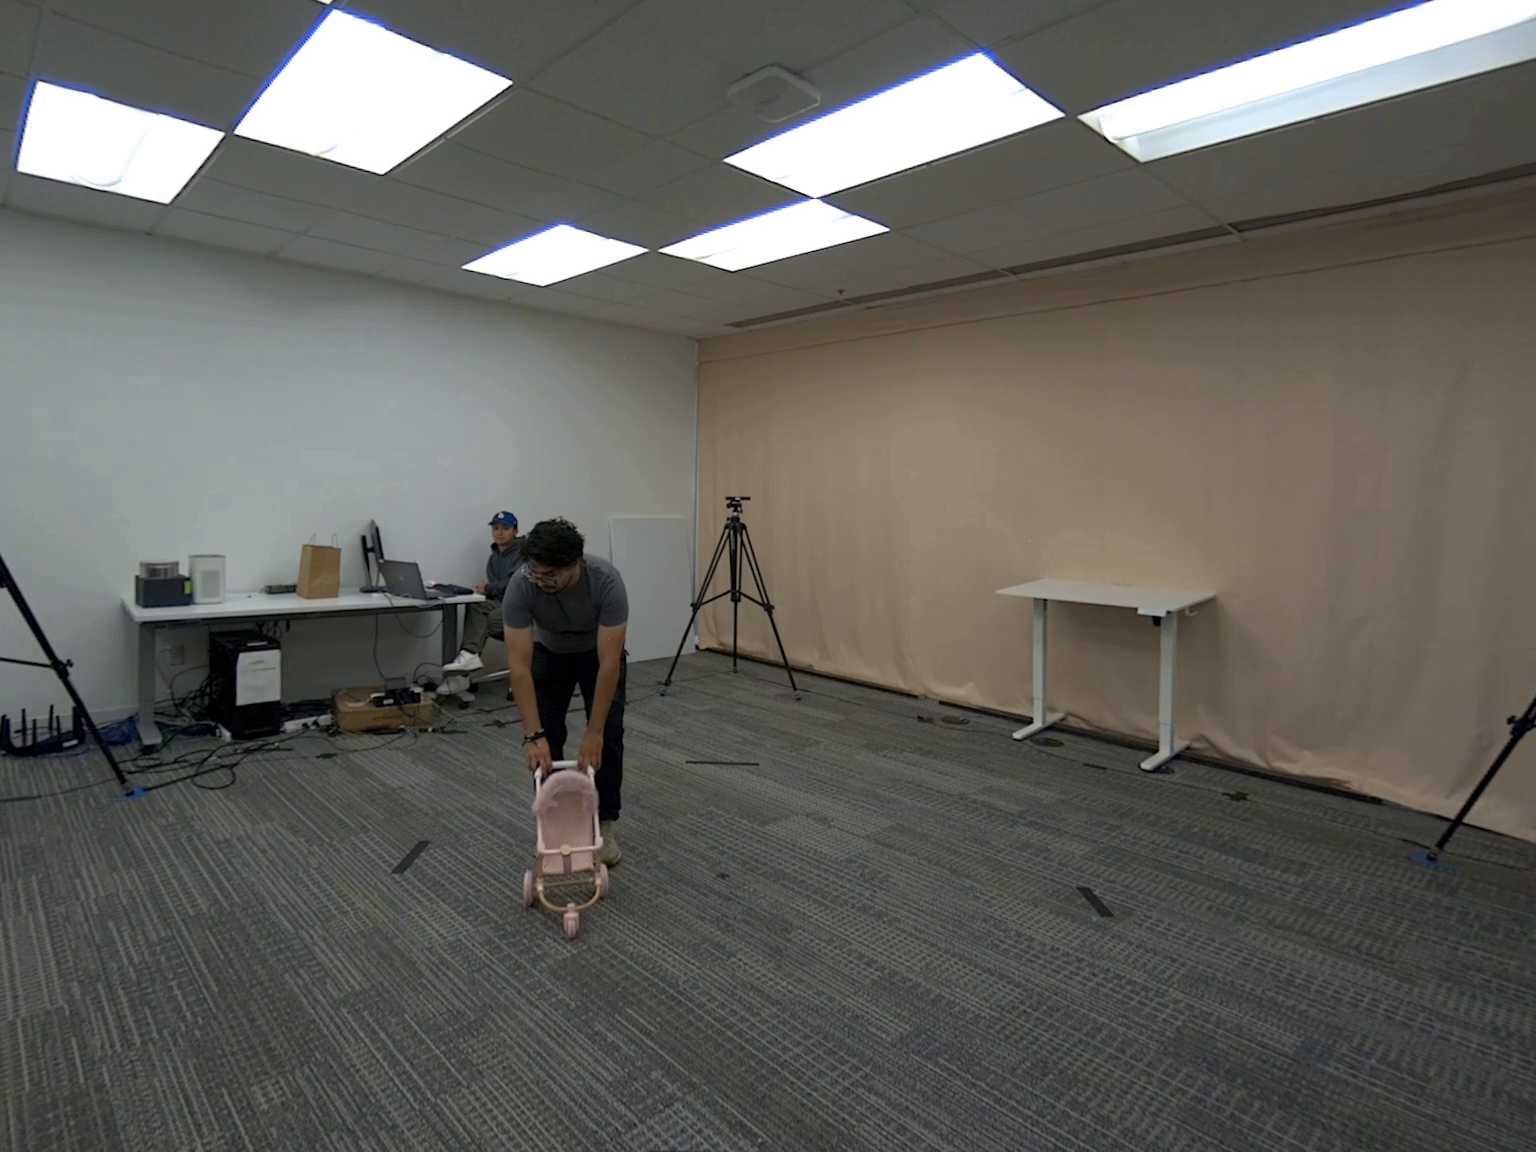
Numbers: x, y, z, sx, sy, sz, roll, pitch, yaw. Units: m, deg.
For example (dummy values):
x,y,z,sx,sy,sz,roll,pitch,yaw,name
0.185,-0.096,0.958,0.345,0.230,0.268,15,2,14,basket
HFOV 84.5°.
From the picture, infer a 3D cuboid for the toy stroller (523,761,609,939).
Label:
x,y,z,sx,sy,sz,roll,pitch,yaw,name
-0.677,0.896,2.813,0.278,0.540,0.342,0,-12,-13,toy stroller
